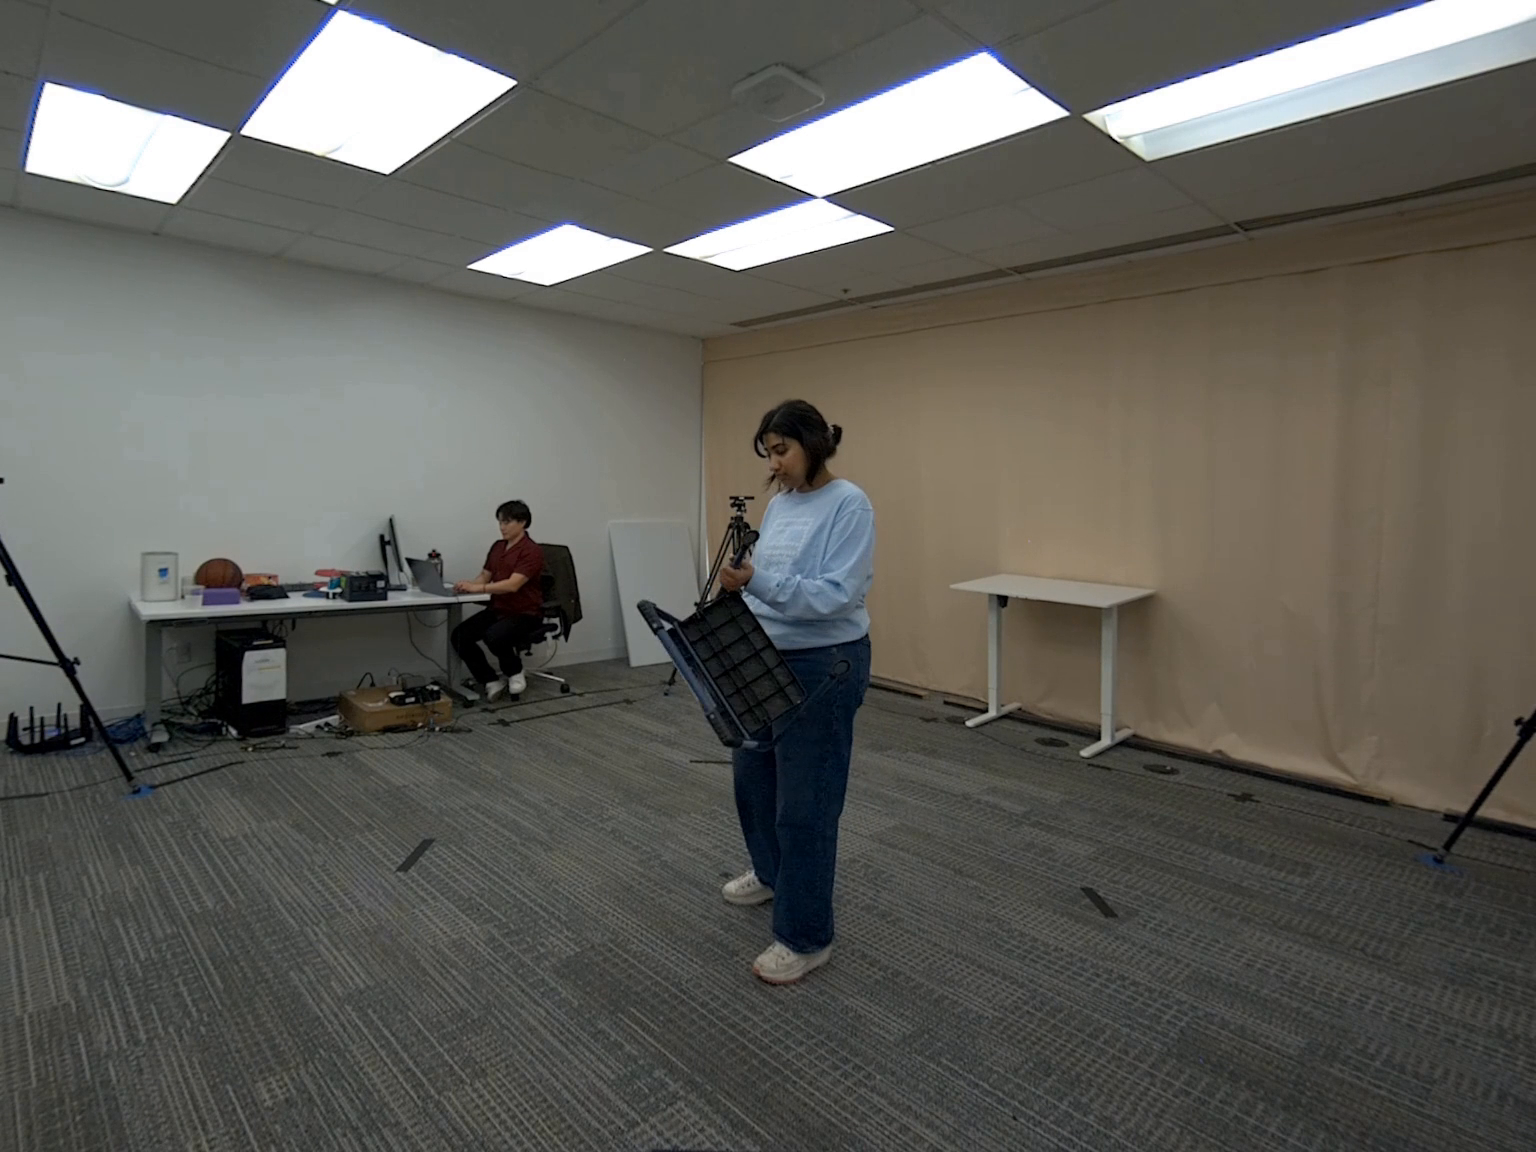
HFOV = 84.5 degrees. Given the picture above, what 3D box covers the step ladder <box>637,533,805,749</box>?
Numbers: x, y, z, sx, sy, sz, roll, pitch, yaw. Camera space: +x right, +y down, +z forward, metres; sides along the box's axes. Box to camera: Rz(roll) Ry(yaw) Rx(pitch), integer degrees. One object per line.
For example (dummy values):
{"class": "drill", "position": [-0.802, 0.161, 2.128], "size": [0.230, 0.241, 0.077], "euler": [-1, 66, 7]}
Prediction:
{"class": "step ladder", "position": [-0.075, 0.245, 2.290], "size": [0.348, 0.439, 0.596], "euler": [-31, -19, -12]}
